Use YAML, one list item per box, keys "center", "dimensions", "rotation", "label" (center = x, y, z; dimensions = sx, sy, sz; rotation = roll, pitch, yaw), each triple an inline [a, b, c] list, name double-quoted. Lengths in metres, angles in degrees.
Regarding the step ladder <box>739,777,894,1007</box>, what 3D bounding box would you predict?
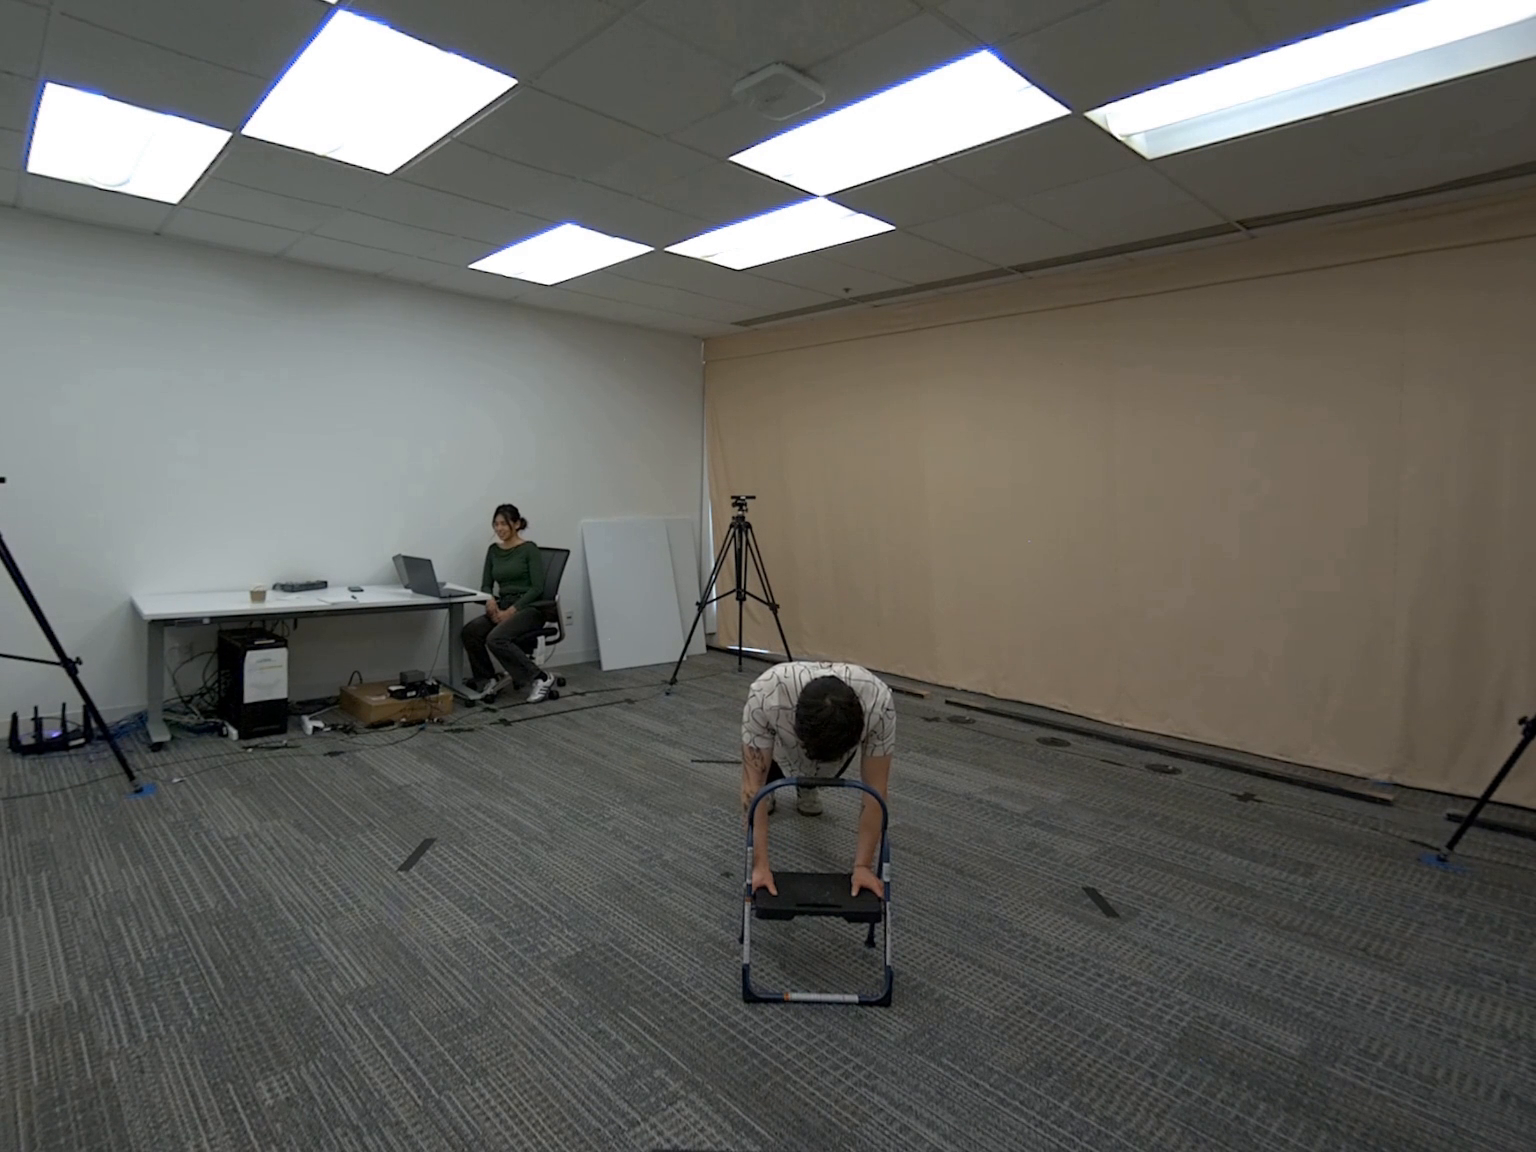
- center: [0.132, 0.869, 2.464]
  dimensions: [0.430, 0.604, 0.350]
  rotation: [1, 3, -2]
  label: "step ladder"
